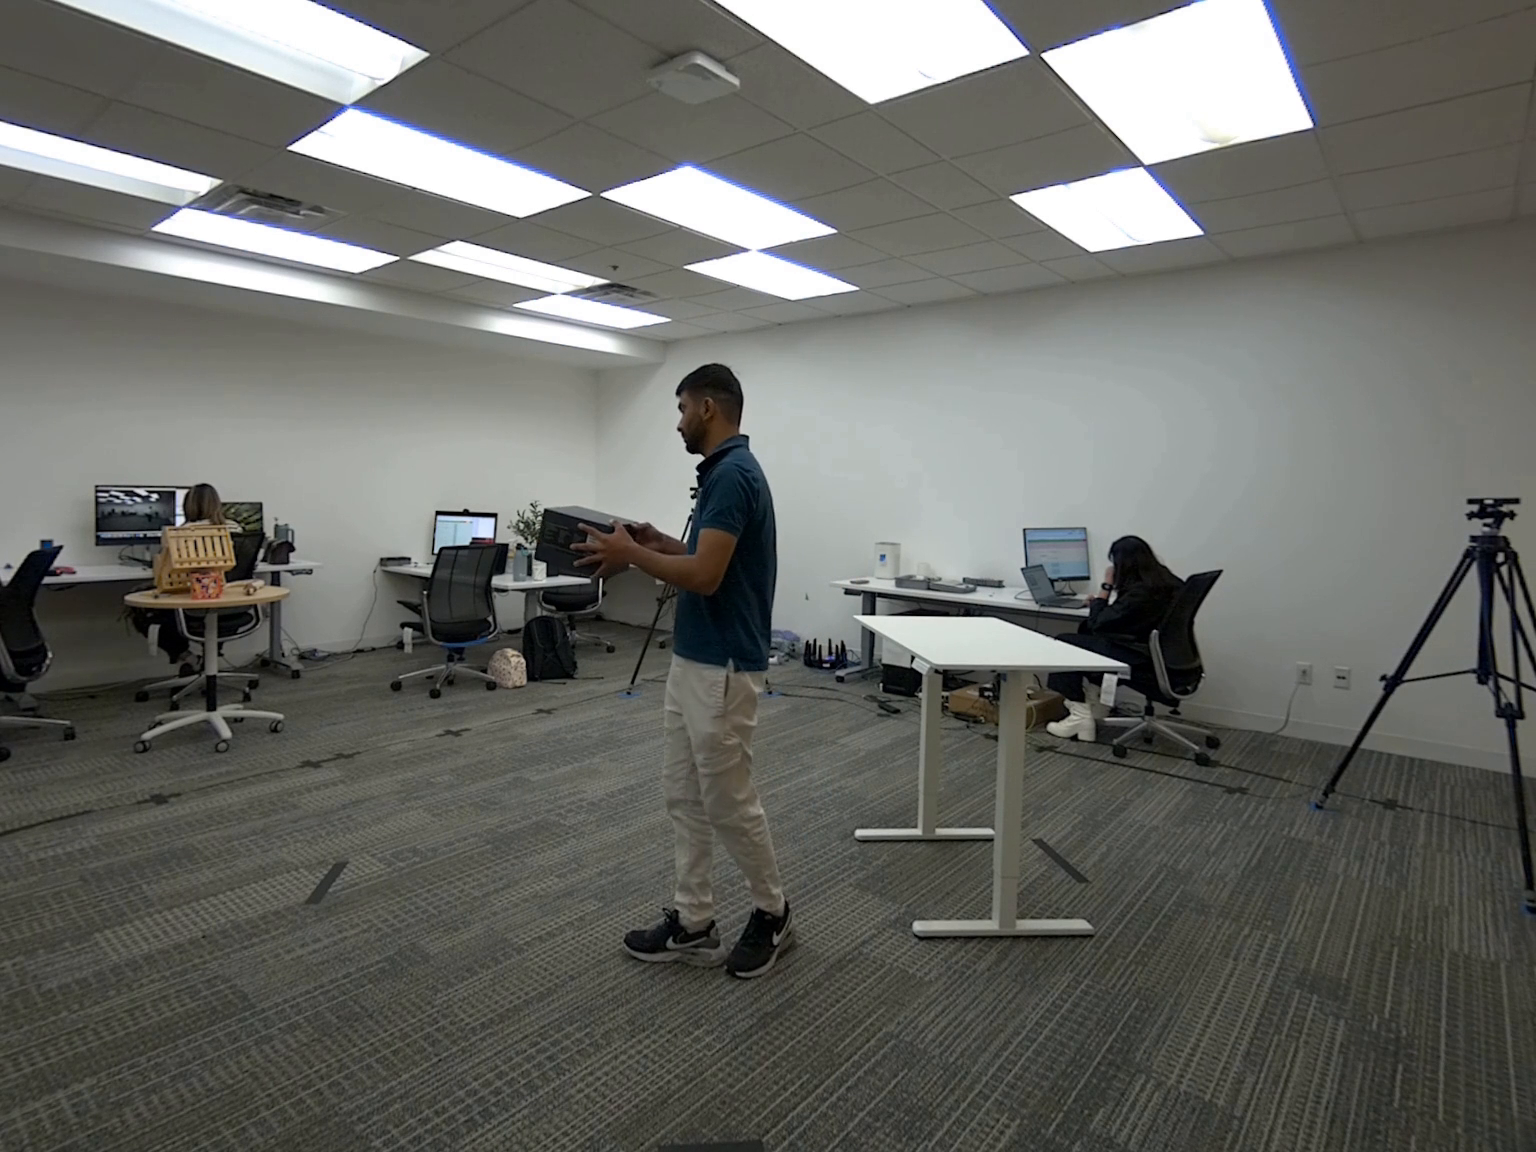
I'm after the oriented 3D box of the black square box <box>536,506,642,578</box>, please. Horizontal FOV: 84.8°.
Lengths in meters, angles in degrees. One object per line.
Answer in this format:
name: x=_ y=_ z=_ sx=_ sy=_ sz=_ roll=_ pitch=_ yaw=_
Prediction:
black square box: x=-0.539 y=-0.111 z=2.542 sx=0.220 sy=0.155 sz=0.225 roll=13 pitch=8 yaw=12
